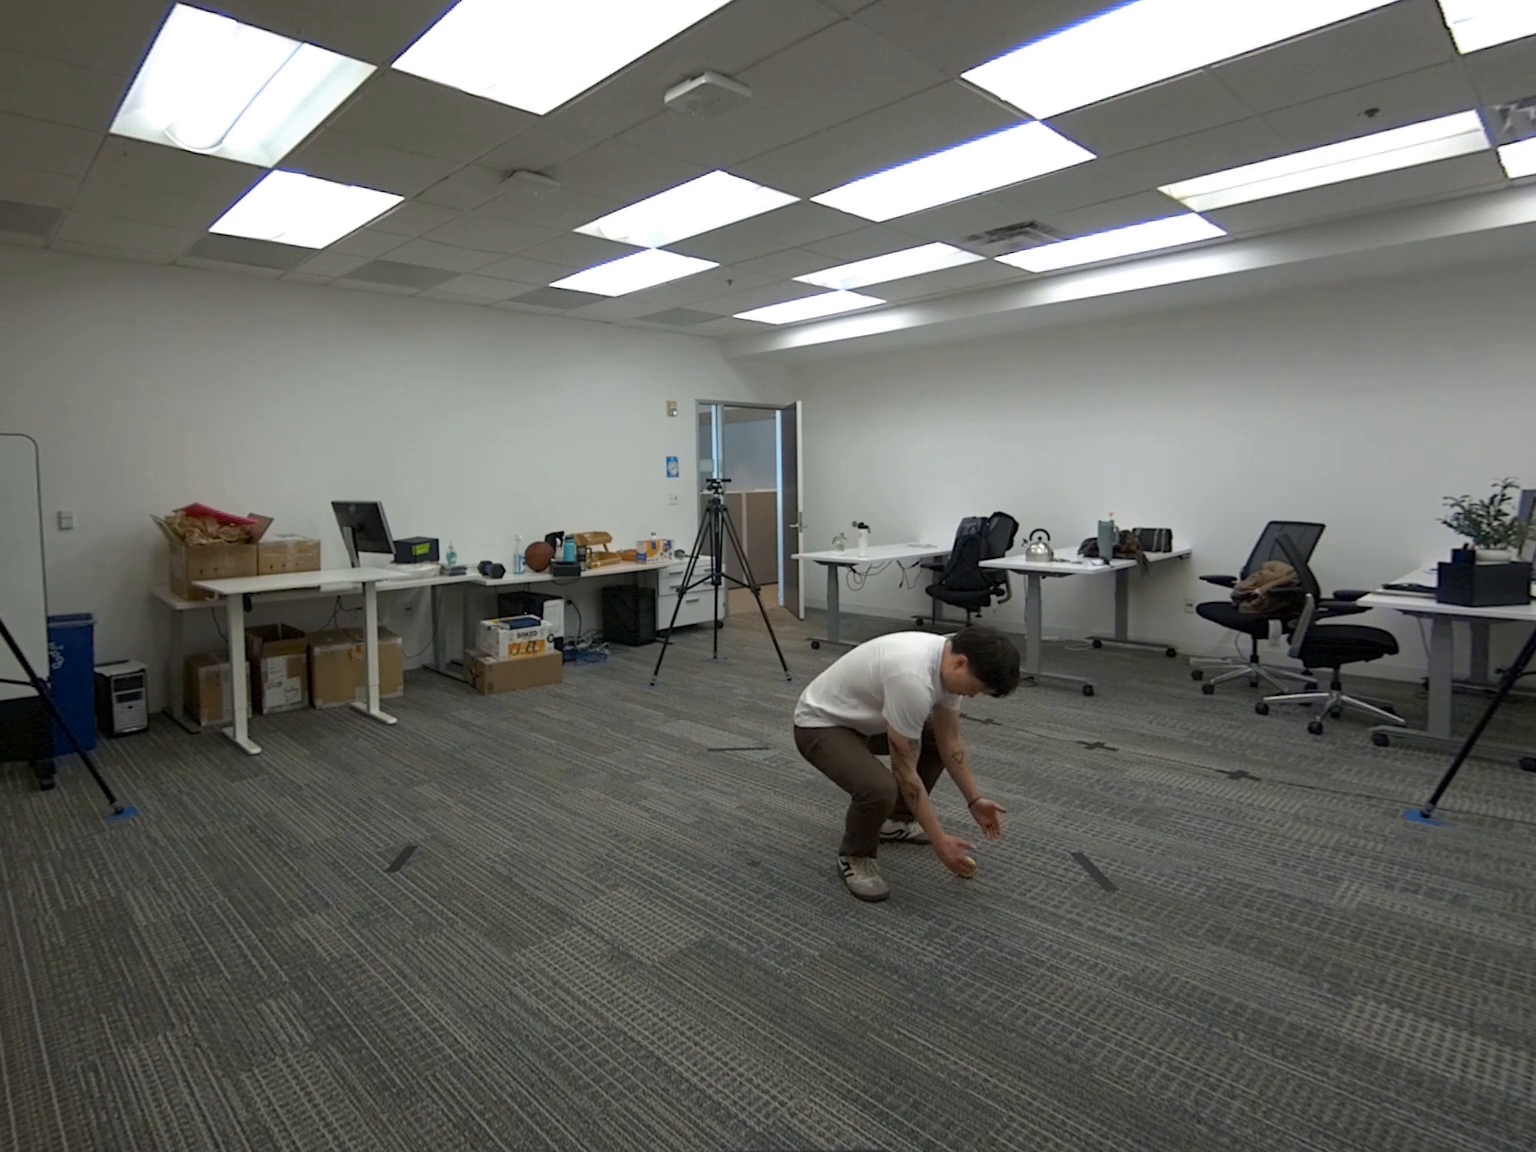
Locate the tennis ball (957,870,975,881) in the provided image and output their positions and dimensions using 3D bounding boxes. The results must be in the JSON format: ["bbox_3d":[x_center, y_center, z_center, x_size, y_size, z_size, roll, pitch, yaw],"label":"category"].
[{"bbox_3d":[0.681,1.005,2.978,0.066,0.066,0.067,-1,5,-2],"label":"tennis ball"}]
